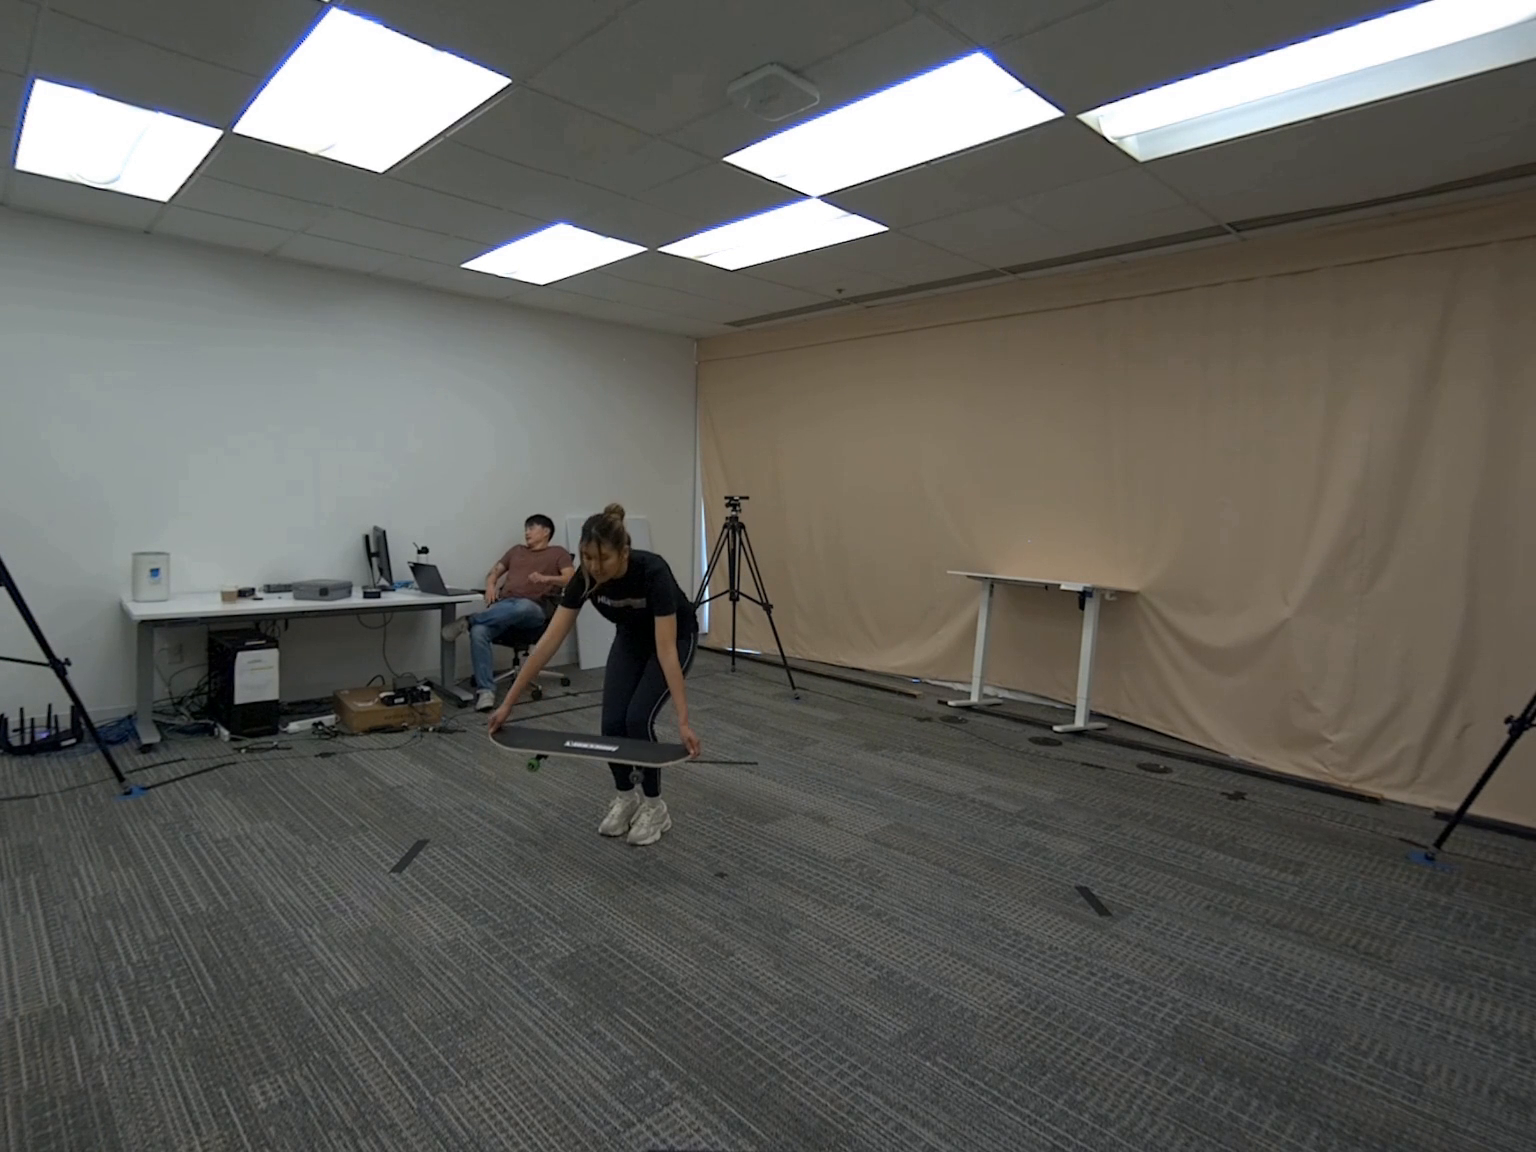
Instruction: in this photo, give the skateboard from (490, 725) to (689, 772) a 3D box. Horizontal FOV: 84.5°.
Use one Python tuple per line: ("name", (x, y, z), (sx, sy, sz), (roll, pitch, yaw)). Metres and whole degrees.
("skateboard", (-0.655, 0.656, 3.140), (0.792, 0.109, 0.193), (4, 12, 10))
